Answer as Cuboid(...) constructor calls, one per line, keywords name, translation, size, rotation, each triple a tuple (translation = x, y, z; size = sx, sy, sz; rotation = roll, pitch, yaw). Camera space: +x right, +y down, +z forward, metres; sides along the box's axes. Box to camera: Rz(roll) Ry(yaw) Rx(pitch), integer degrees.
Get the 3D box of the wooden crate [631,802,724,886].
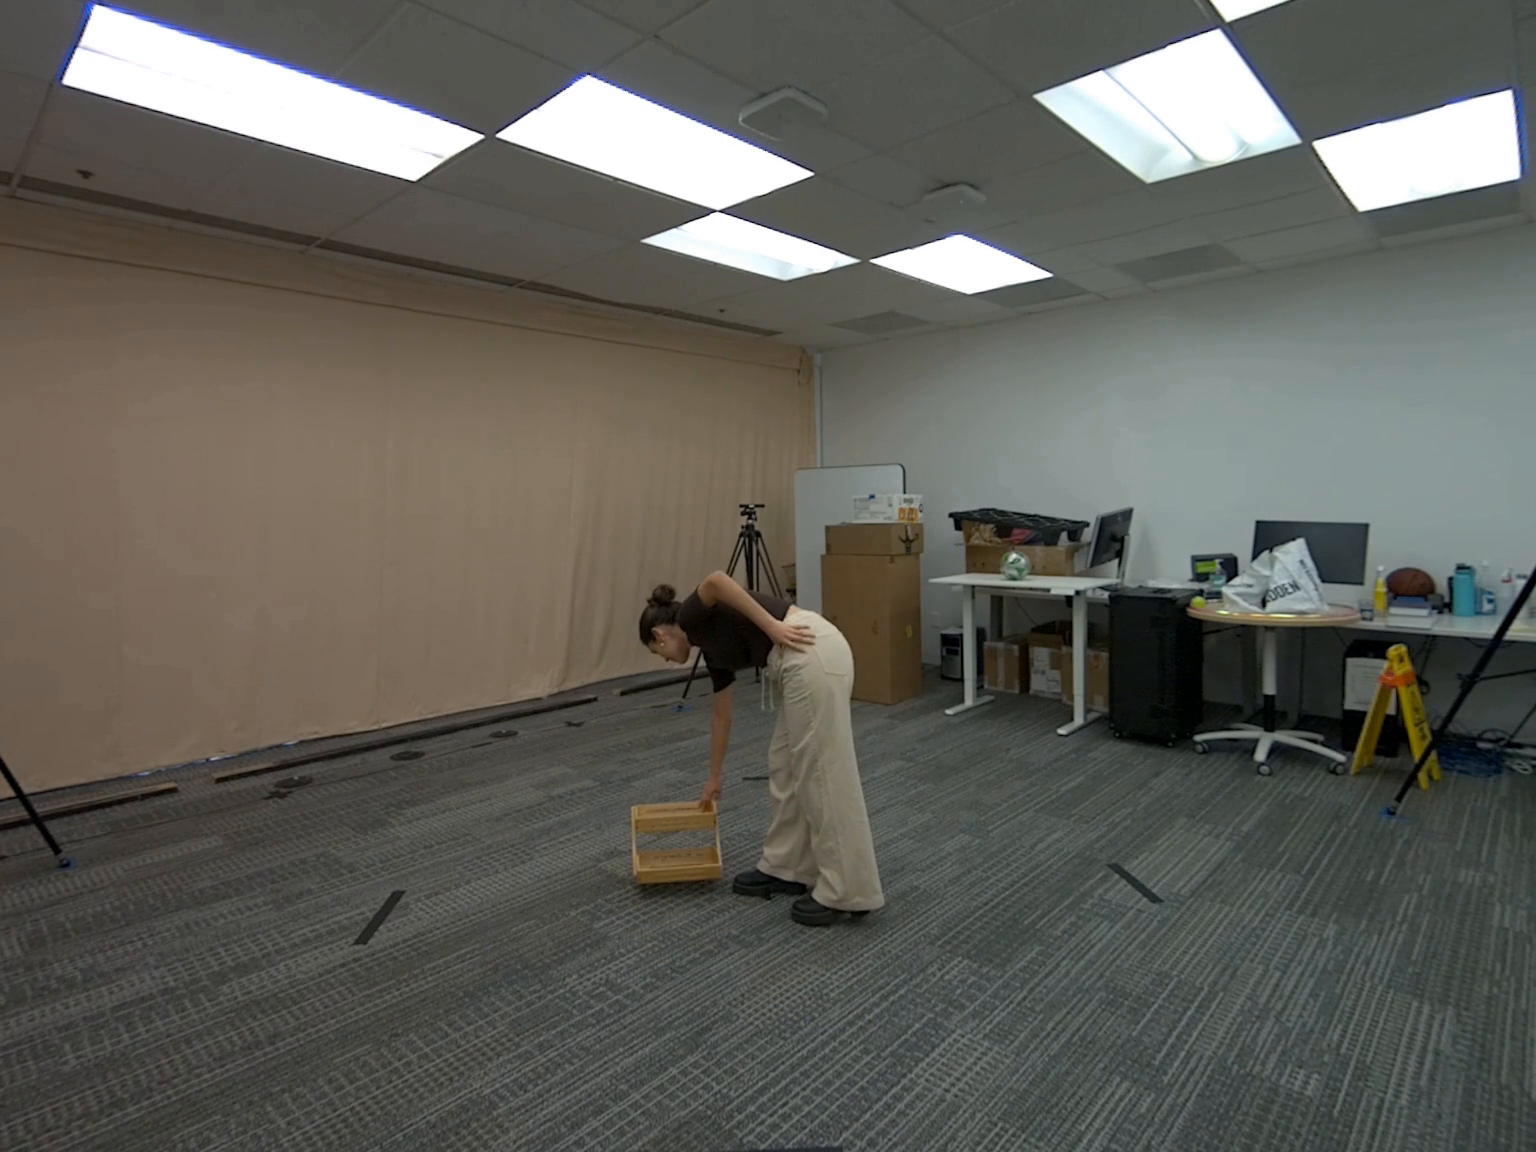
Cuboid(name="wooden crate", translation=(-0.347, 0.984, 3.131), size=(0.322, 0.276, 0.301), rotation=(-2, -14, -8))
